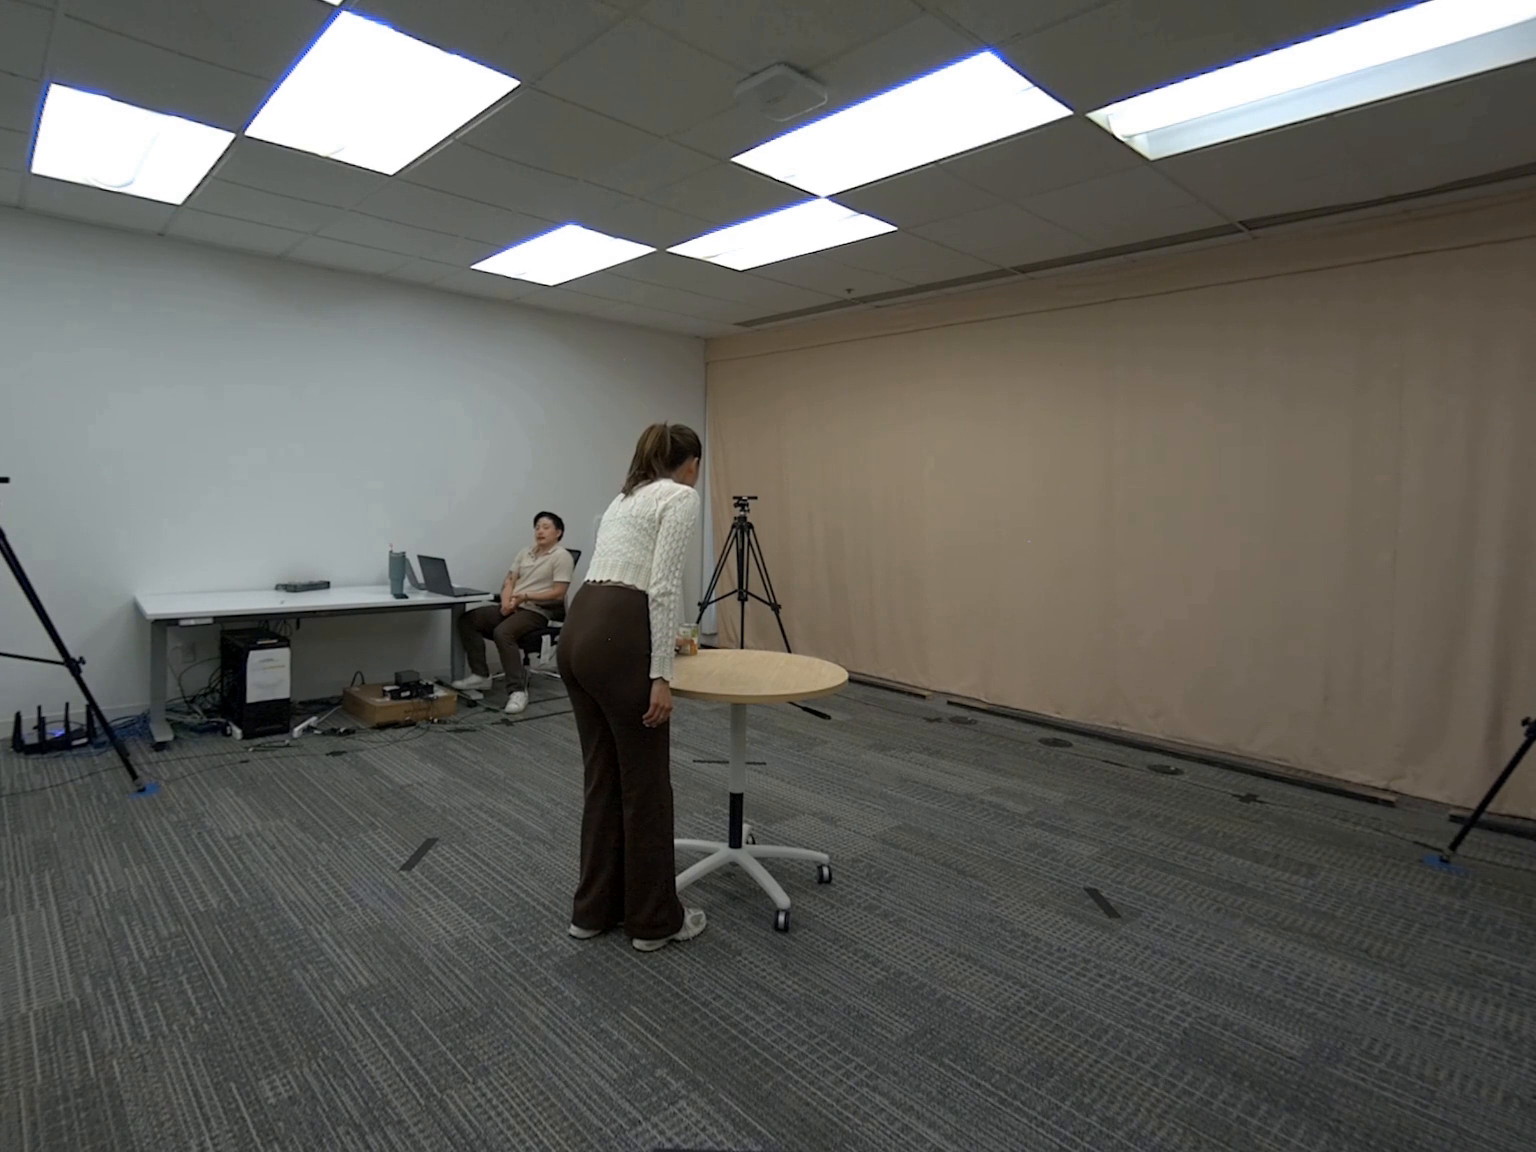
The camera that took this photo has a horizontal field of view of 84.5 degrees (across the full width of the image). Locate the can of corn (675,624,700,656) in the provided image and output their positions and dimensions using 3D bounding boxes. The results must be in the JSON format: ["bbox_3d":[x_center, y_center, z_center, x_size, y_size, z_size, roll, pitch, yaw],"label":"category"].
[{"bbox_3d":[-0.321,0.246,3.242,0.074,0.111,0.074,3,3,-2],"label":"can of corn"}]
